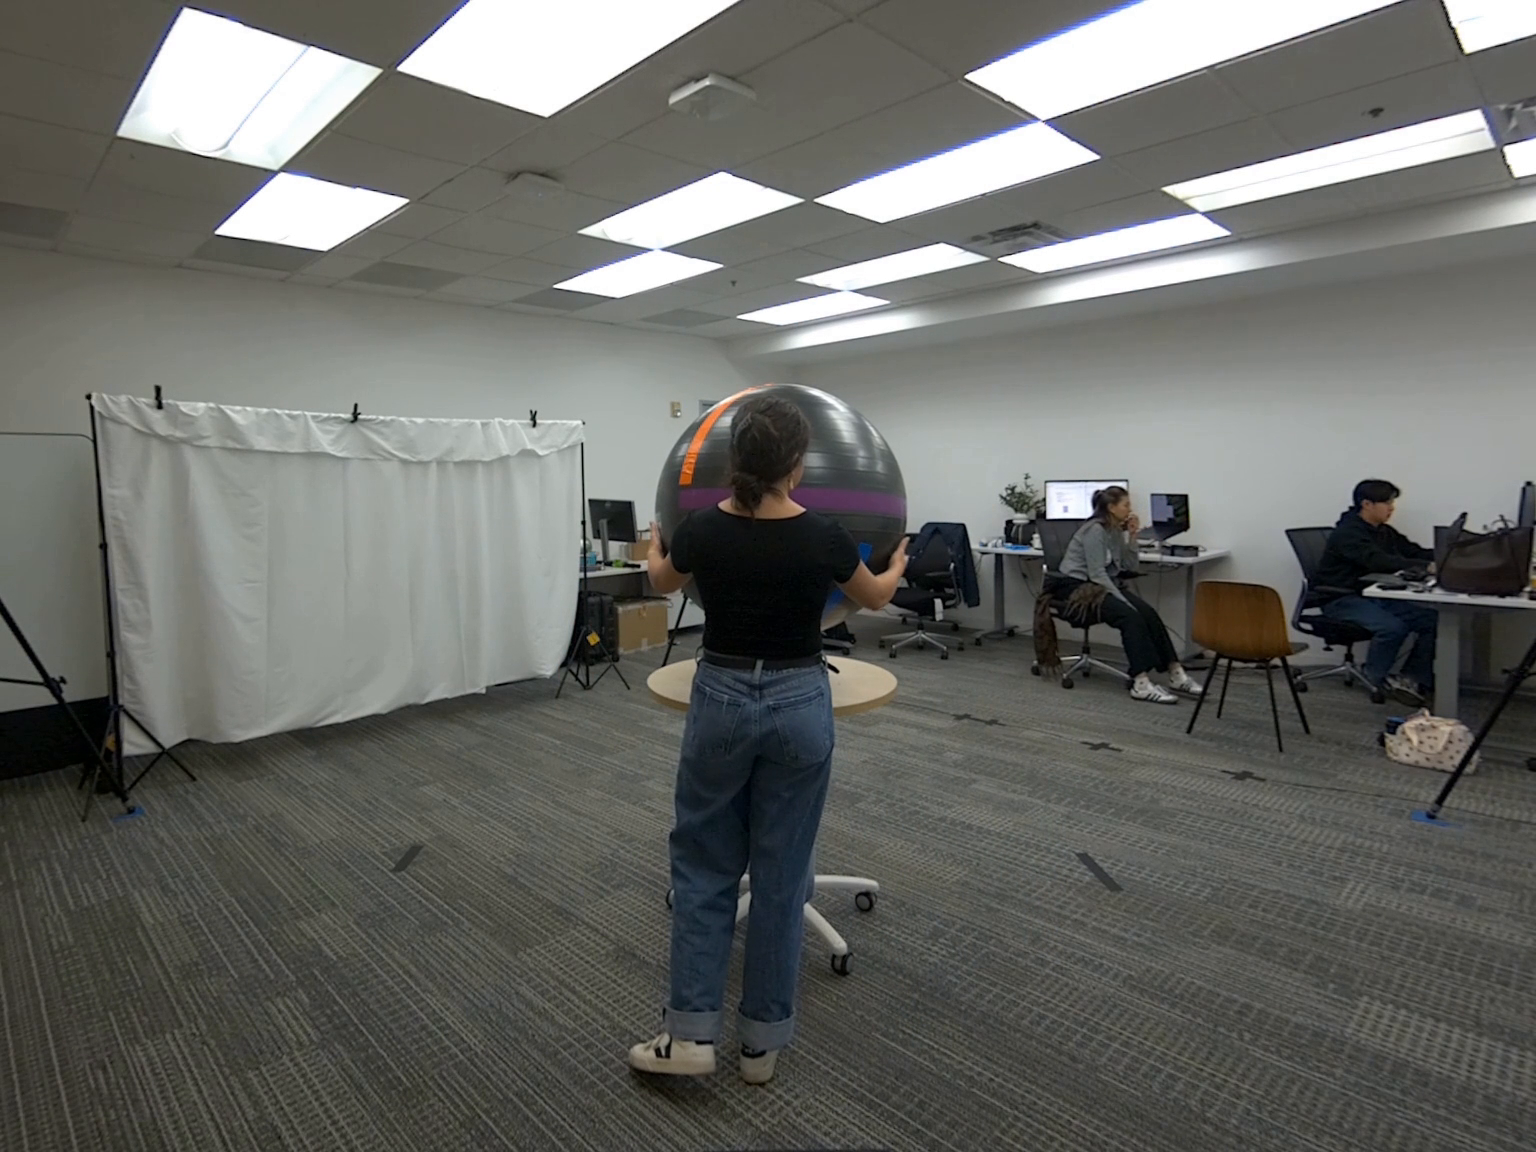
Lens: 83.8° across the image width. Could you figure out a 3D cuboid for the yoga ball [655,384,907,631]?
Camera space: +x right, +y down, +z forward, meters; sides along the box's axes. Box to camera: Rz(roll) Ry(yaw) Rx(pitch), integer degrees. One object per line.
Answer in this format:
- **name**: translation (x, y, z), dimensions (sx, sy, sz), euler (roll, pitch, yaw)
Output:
- **yoga ball**: translation (0.037, -0.192, 2.583), dimensions (0.757, 0.755, 0.762), euler (-1, 5, -2)
